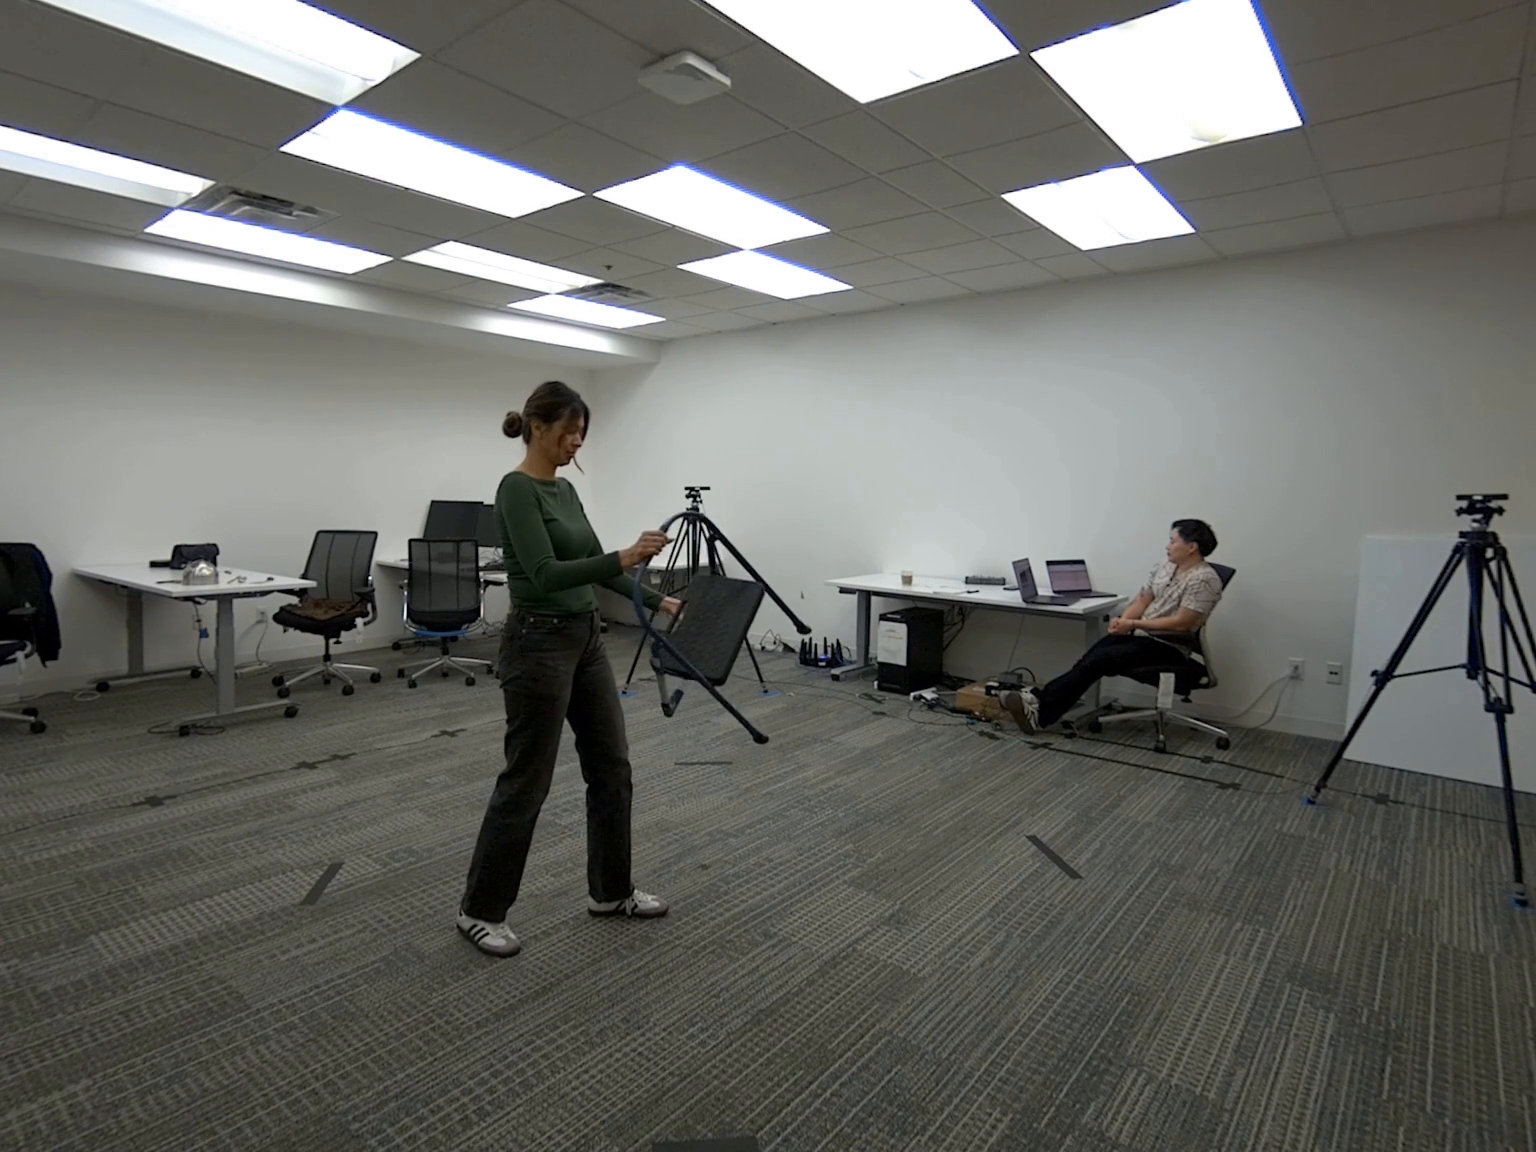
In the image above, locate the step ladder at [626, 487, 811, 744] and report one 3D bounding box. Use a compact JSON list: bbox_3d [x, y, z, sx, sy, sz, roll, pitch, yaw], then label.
[{"bbox_3d":[-0.174,0.120,2.466,0.359,0.435,0.583,8,-38,25],"label":"step ladder"}]
